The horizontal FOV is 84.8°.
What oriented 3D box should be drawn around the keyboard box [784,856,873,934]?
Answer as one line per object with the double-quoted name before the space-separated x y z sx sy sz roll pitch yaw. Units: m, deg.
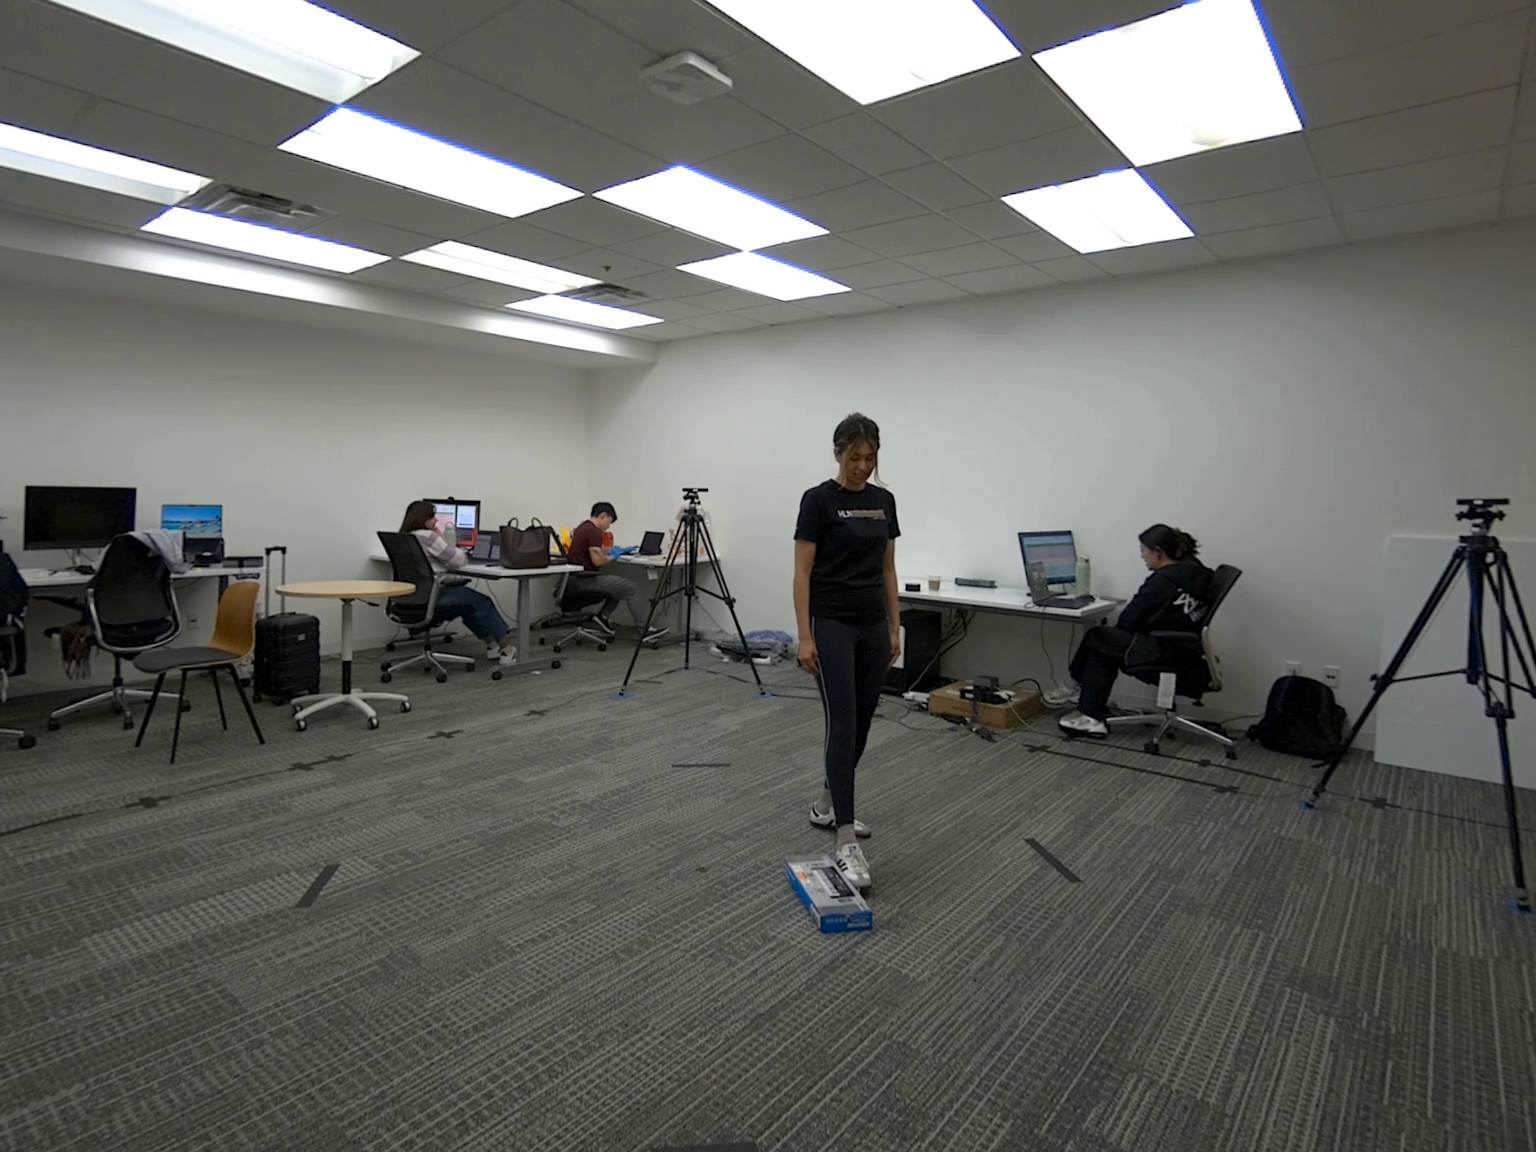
"keyboard box" 0.187 1.069 2.901 0.173 0.059 0.445 -1 6 -14
